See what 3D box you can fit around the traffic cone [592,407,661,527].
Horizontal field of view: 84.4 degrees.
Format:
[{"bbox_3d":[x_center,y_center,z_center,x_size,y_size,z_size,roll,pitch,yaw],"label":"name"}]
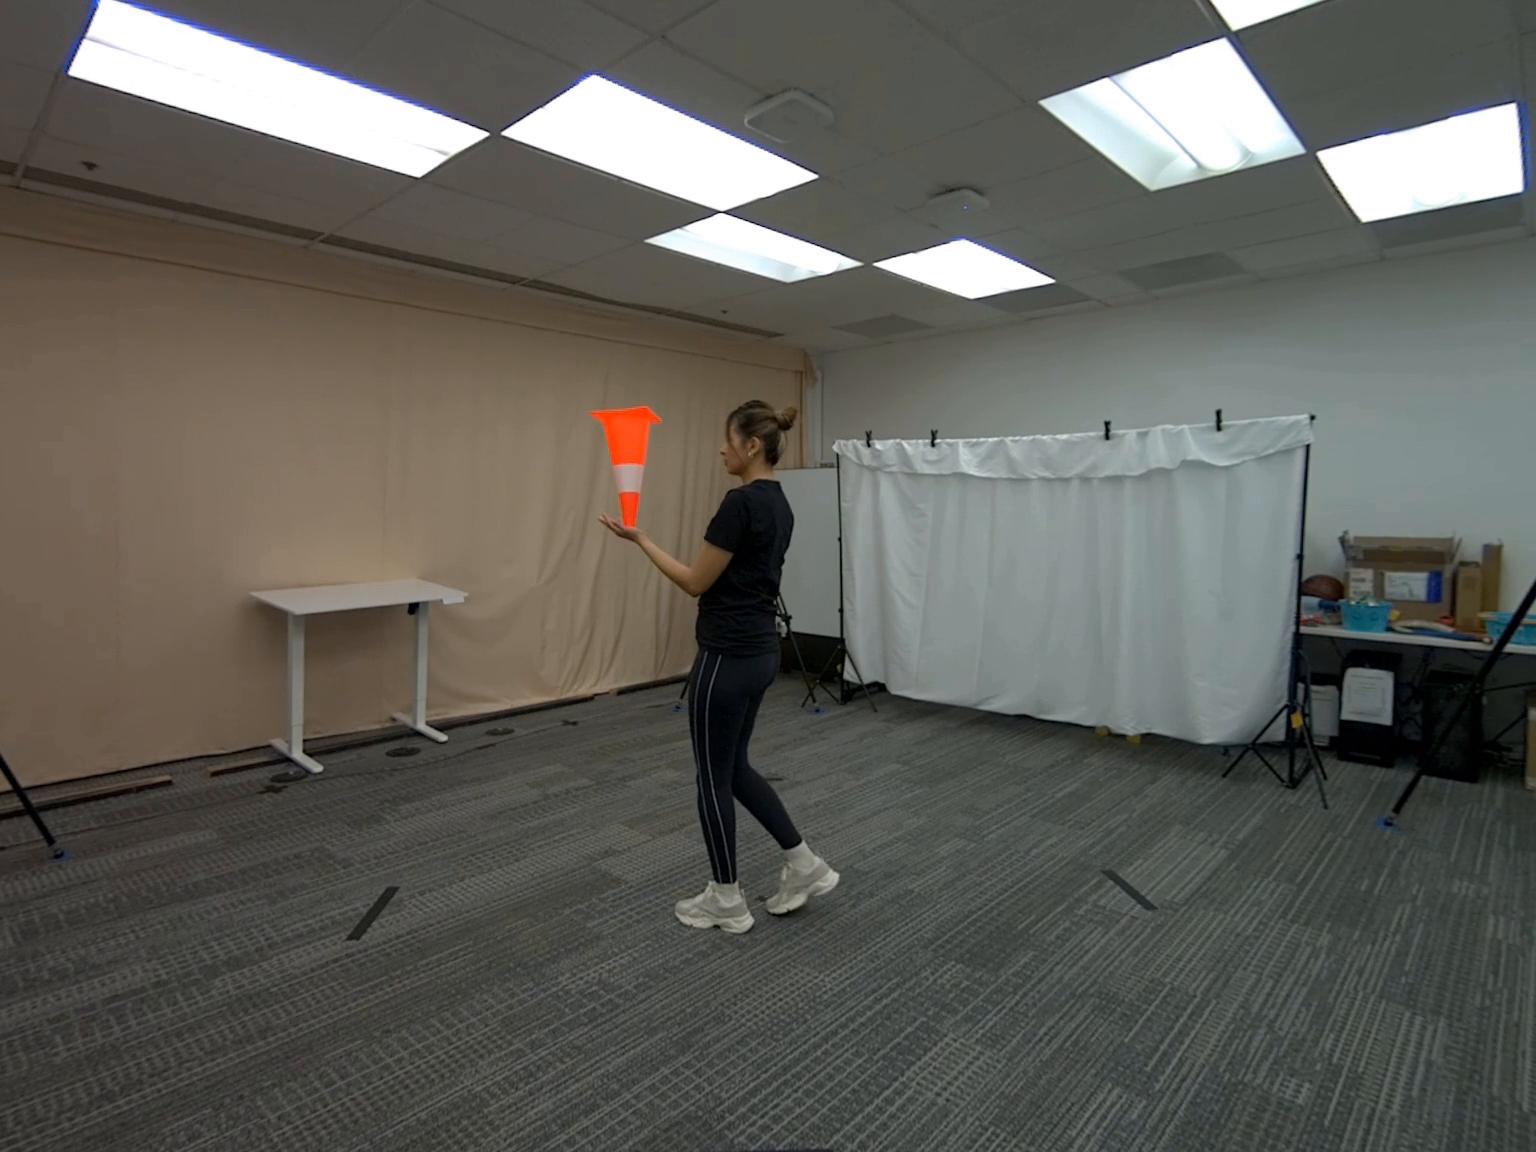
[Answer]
[{"bbox_3d":[-0.469,-0.343,2.772,0.208,0.385,0.200,-2,-4,11],"label":"traffic cone"}]
